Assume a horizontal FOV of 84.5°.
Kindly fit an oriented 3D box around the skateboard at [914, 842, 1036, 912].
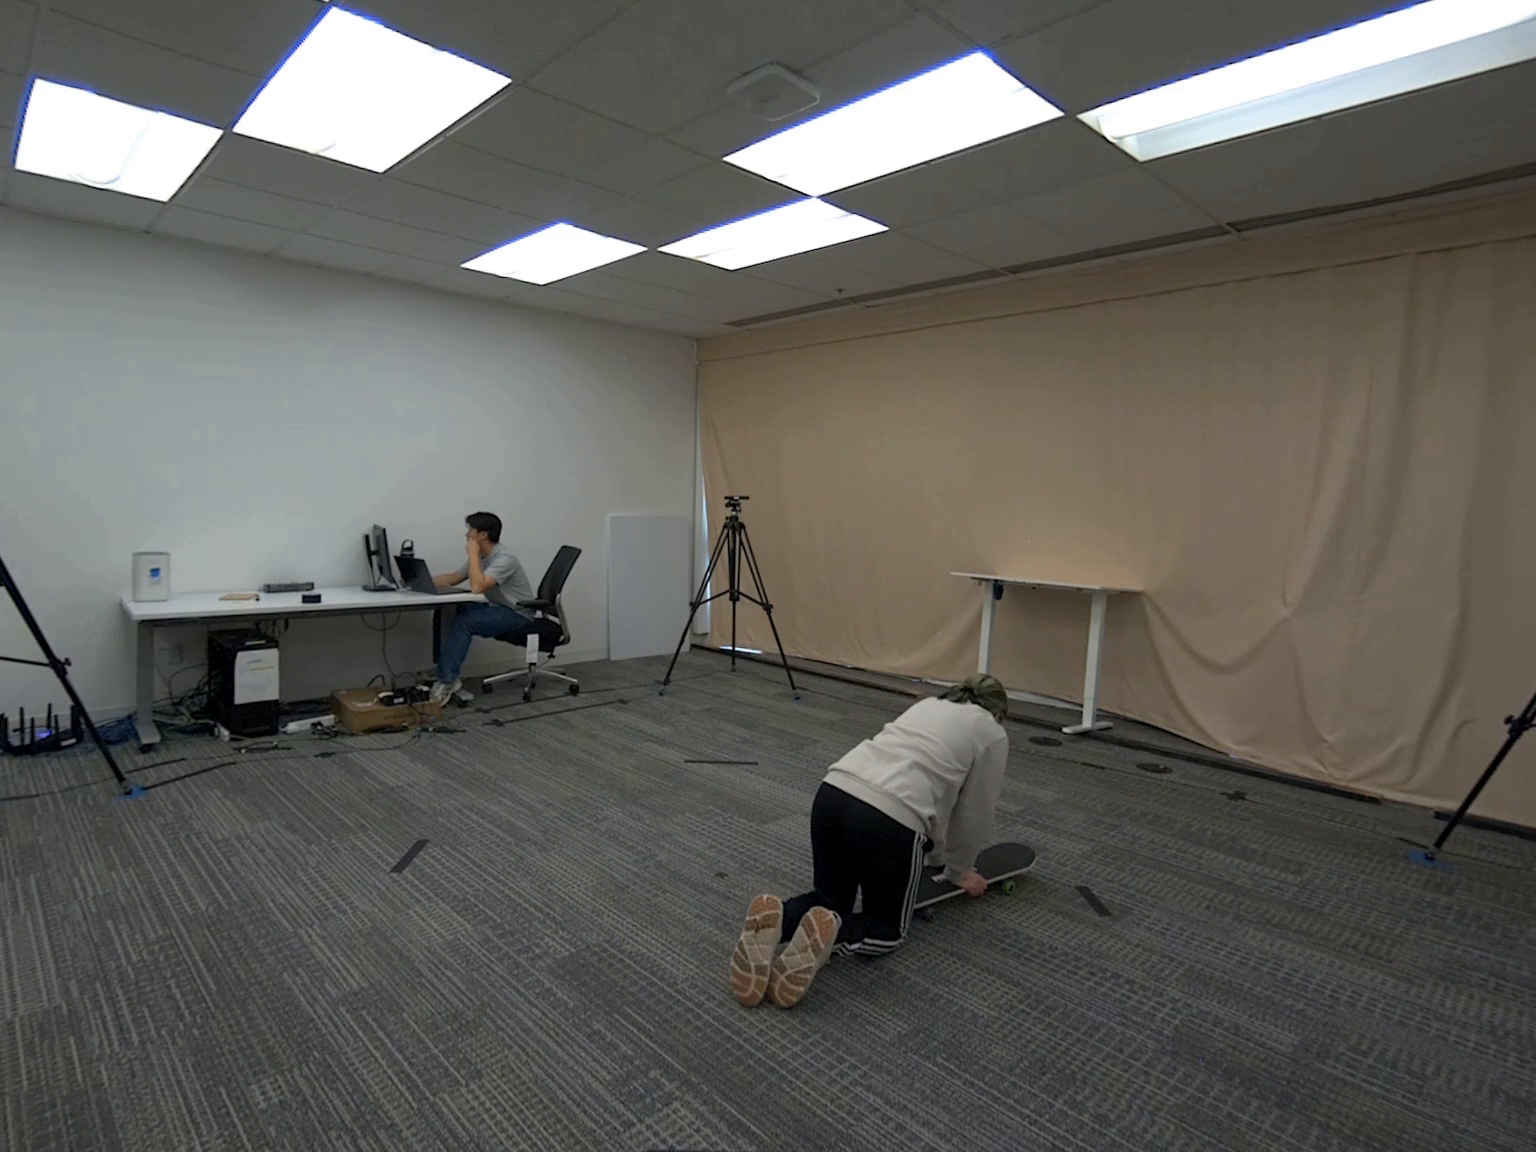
[{"bbox_3d":[0.648,1.081,2.970,0.769,0.110,0.198,-2,7,-33],"label":"skateboard"}]
